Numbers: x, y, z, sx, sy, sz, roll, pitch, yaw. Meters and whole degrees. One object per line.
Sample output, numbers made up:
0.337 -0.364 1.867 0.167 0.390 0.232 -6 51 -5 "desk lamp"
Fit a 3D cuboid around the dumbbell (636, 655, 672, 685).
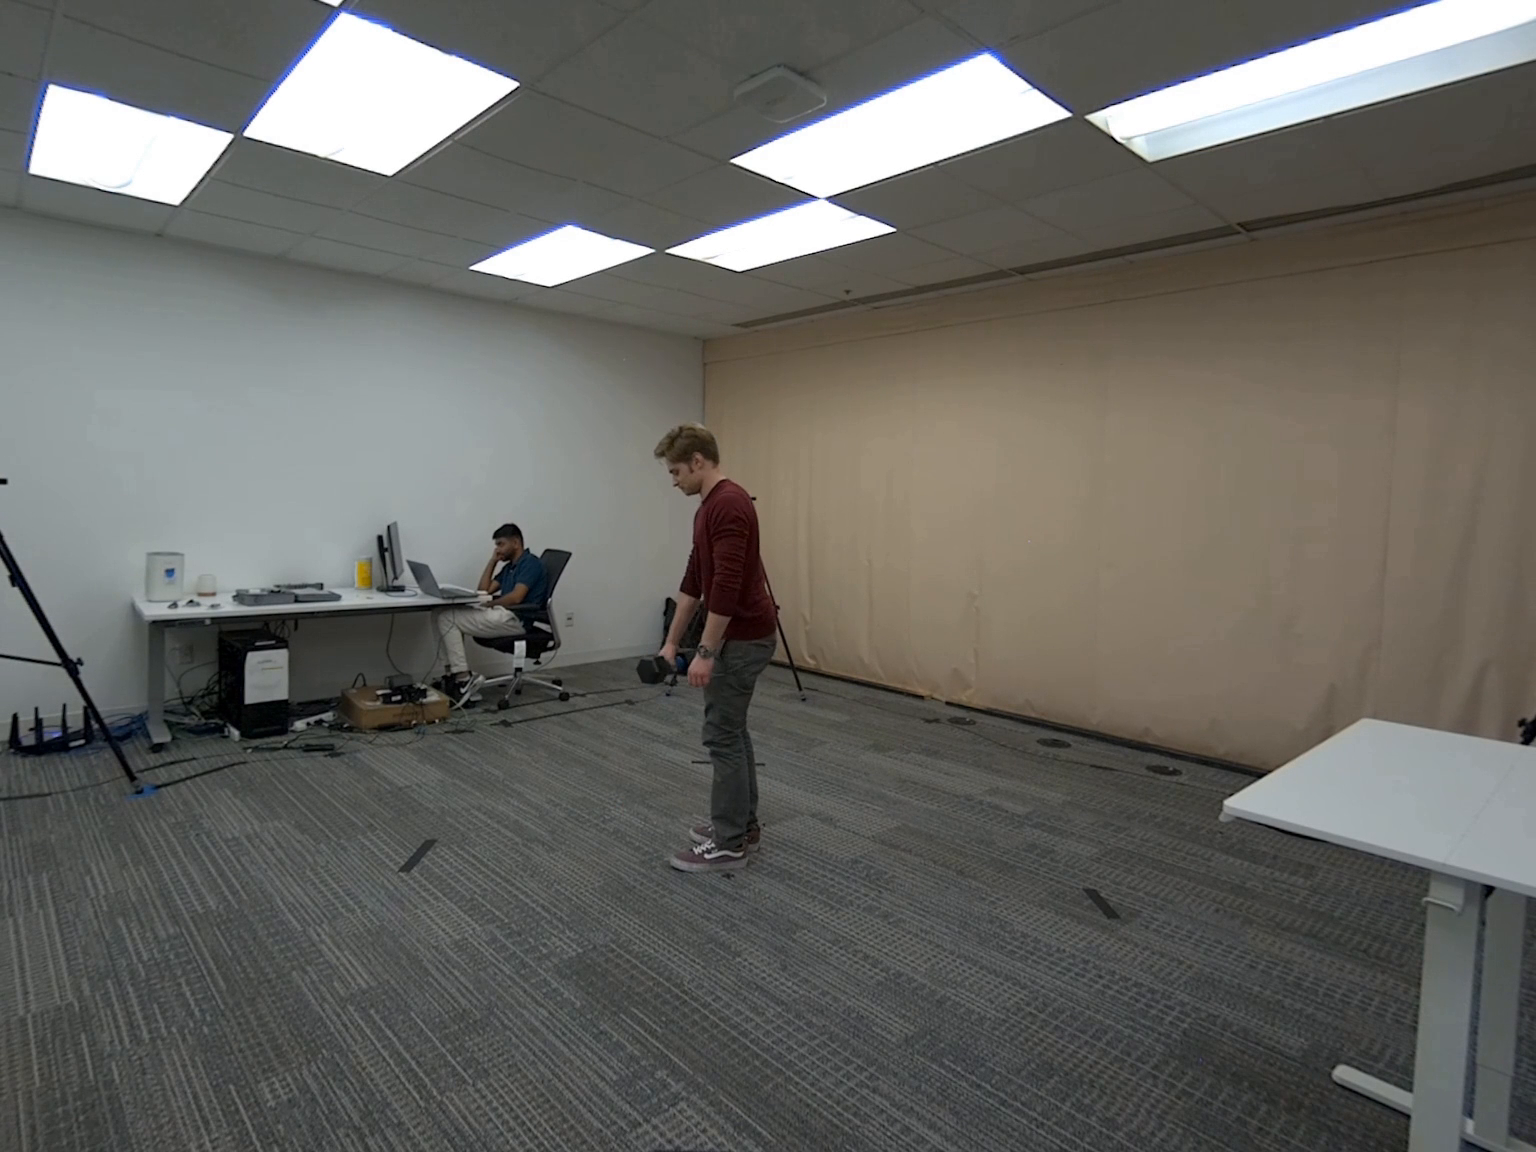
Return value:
-0.401 0.369 3.427 0.111 0.122 0.287 36 21 25 "dumbbell"
